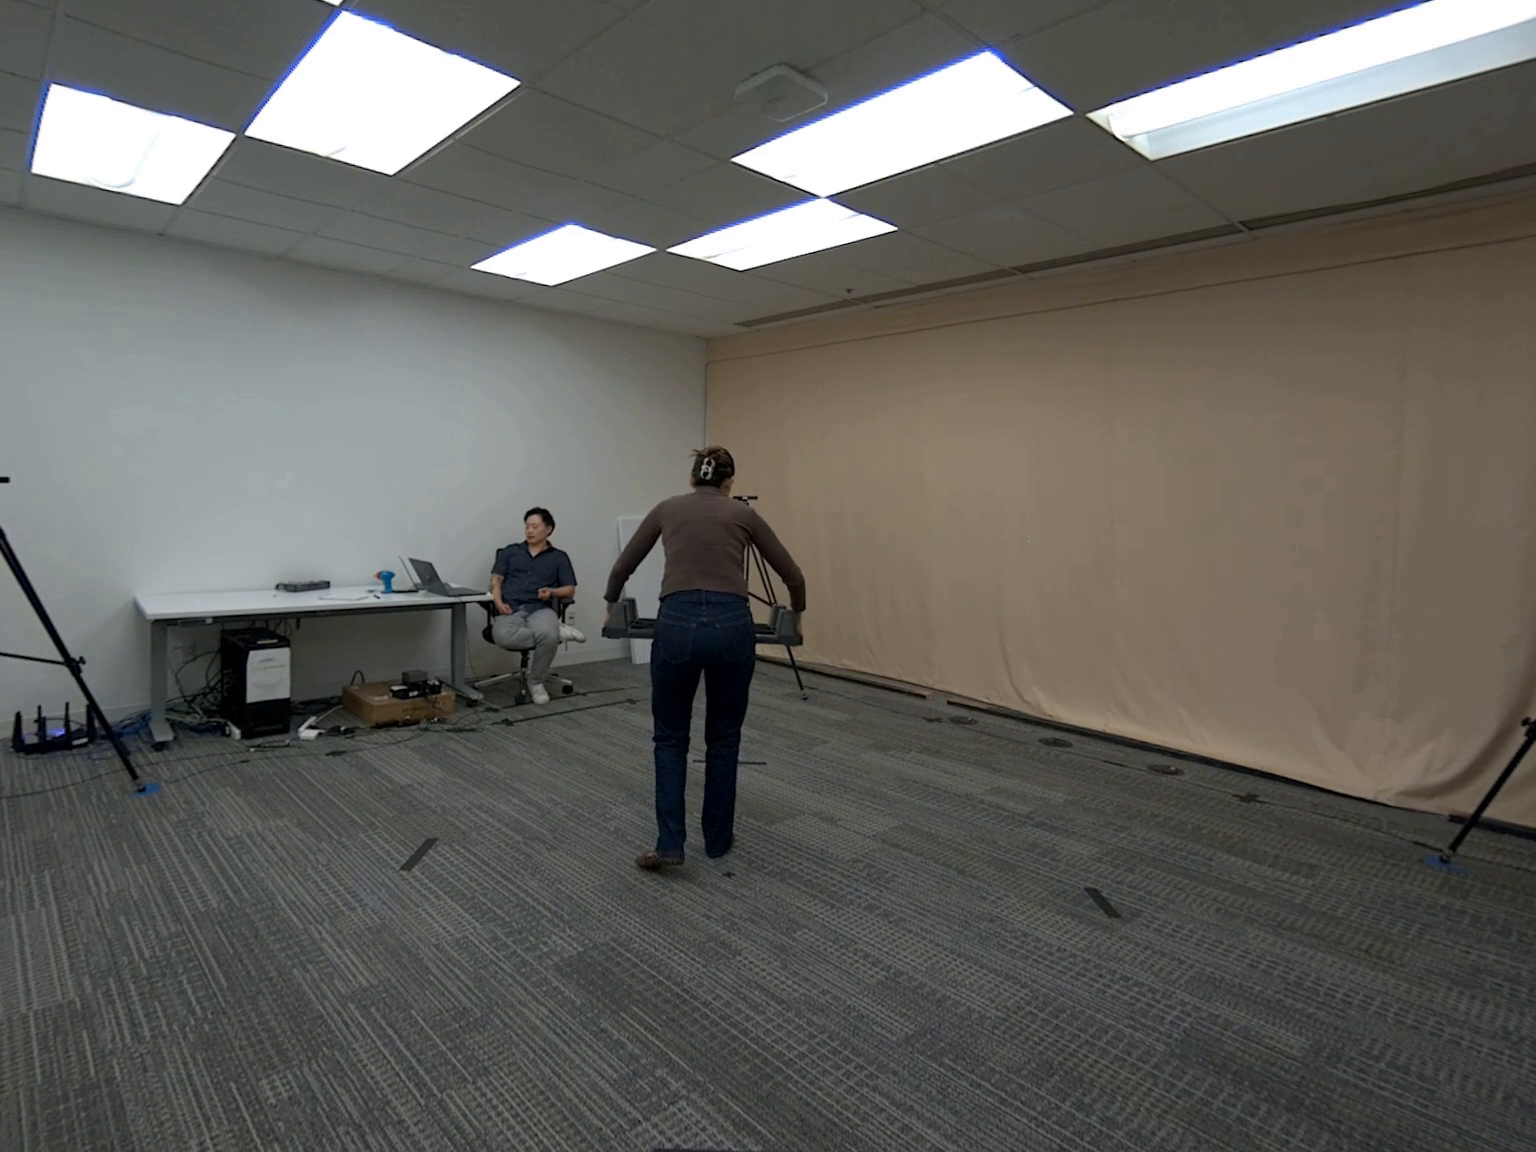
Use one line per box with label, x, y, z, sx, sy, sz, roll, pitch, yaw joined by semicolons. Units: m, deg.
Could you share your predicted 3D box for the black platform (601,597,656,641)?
black platform;-0.277;0.196;3.612;0.804;0.143;0.607;3;2;-3
